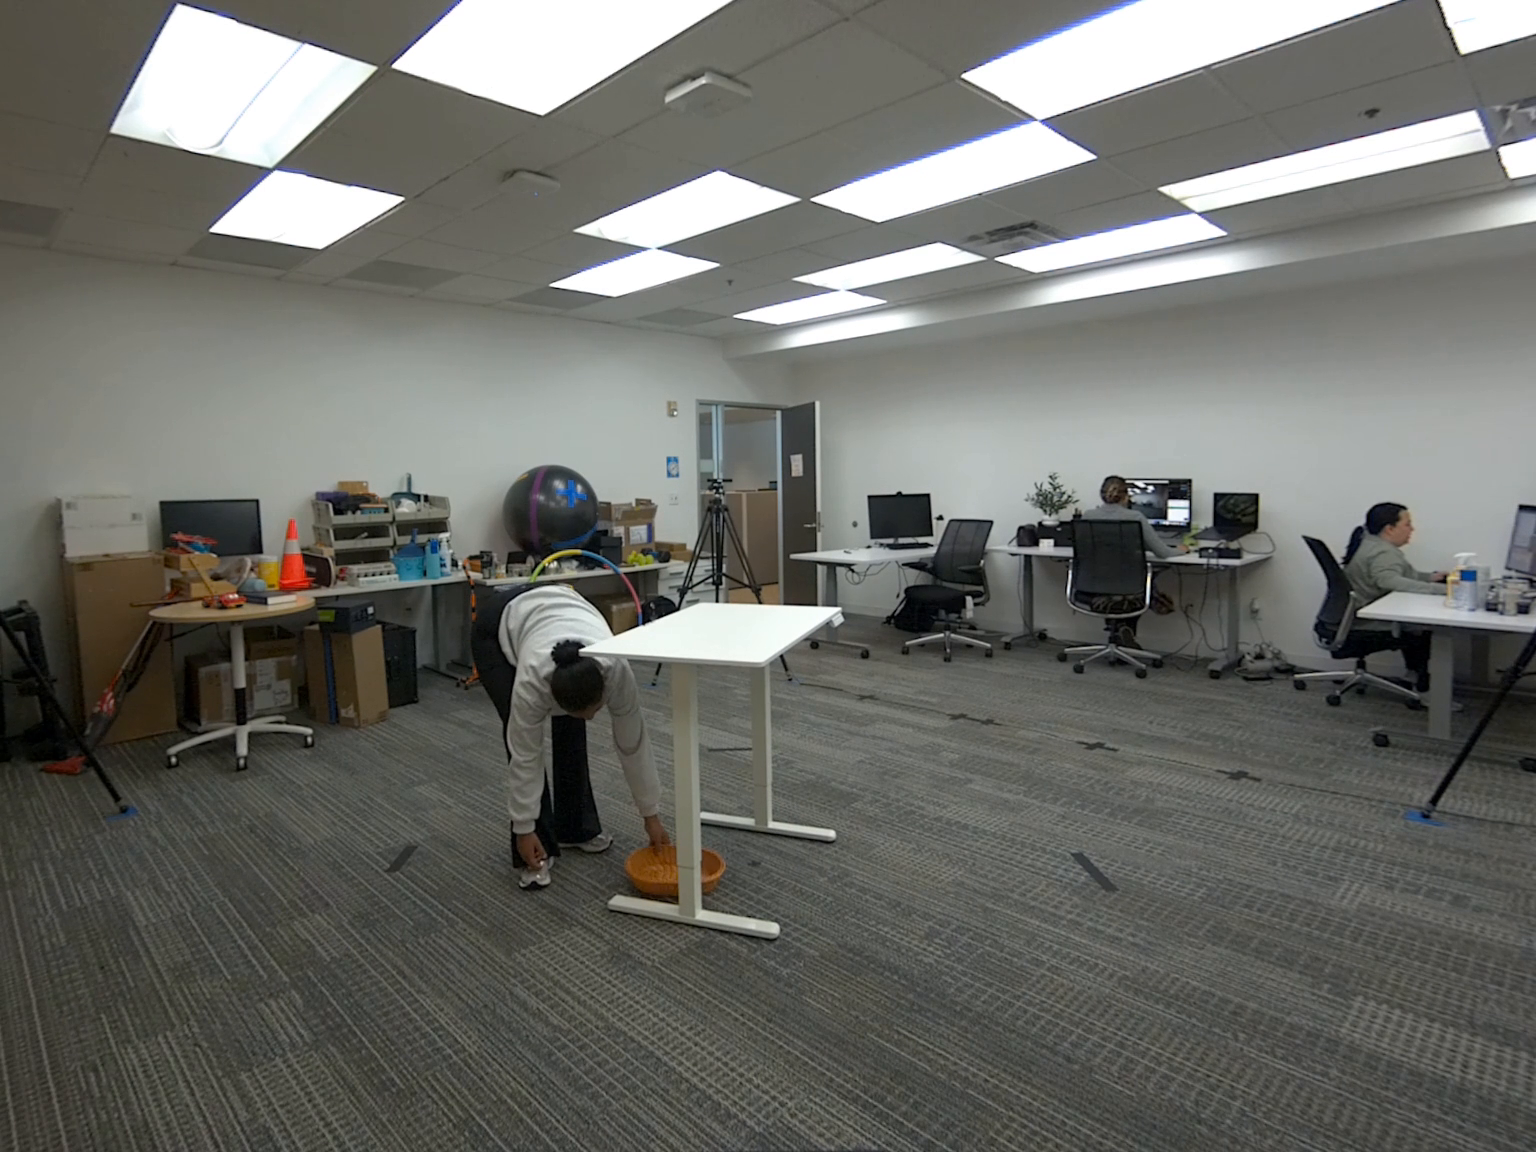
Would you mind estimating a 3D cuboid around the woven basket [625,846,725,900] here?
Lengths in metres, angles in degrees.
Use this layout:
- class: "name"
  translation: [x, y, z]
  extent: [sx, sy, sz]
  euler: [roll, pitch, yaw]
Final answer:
- class: "woven basket"
  translation: [-0.334, 1.007, 2.947]
  extent: [0.352, 0.073, 0.253]
  euler: [2, 10, 3]
